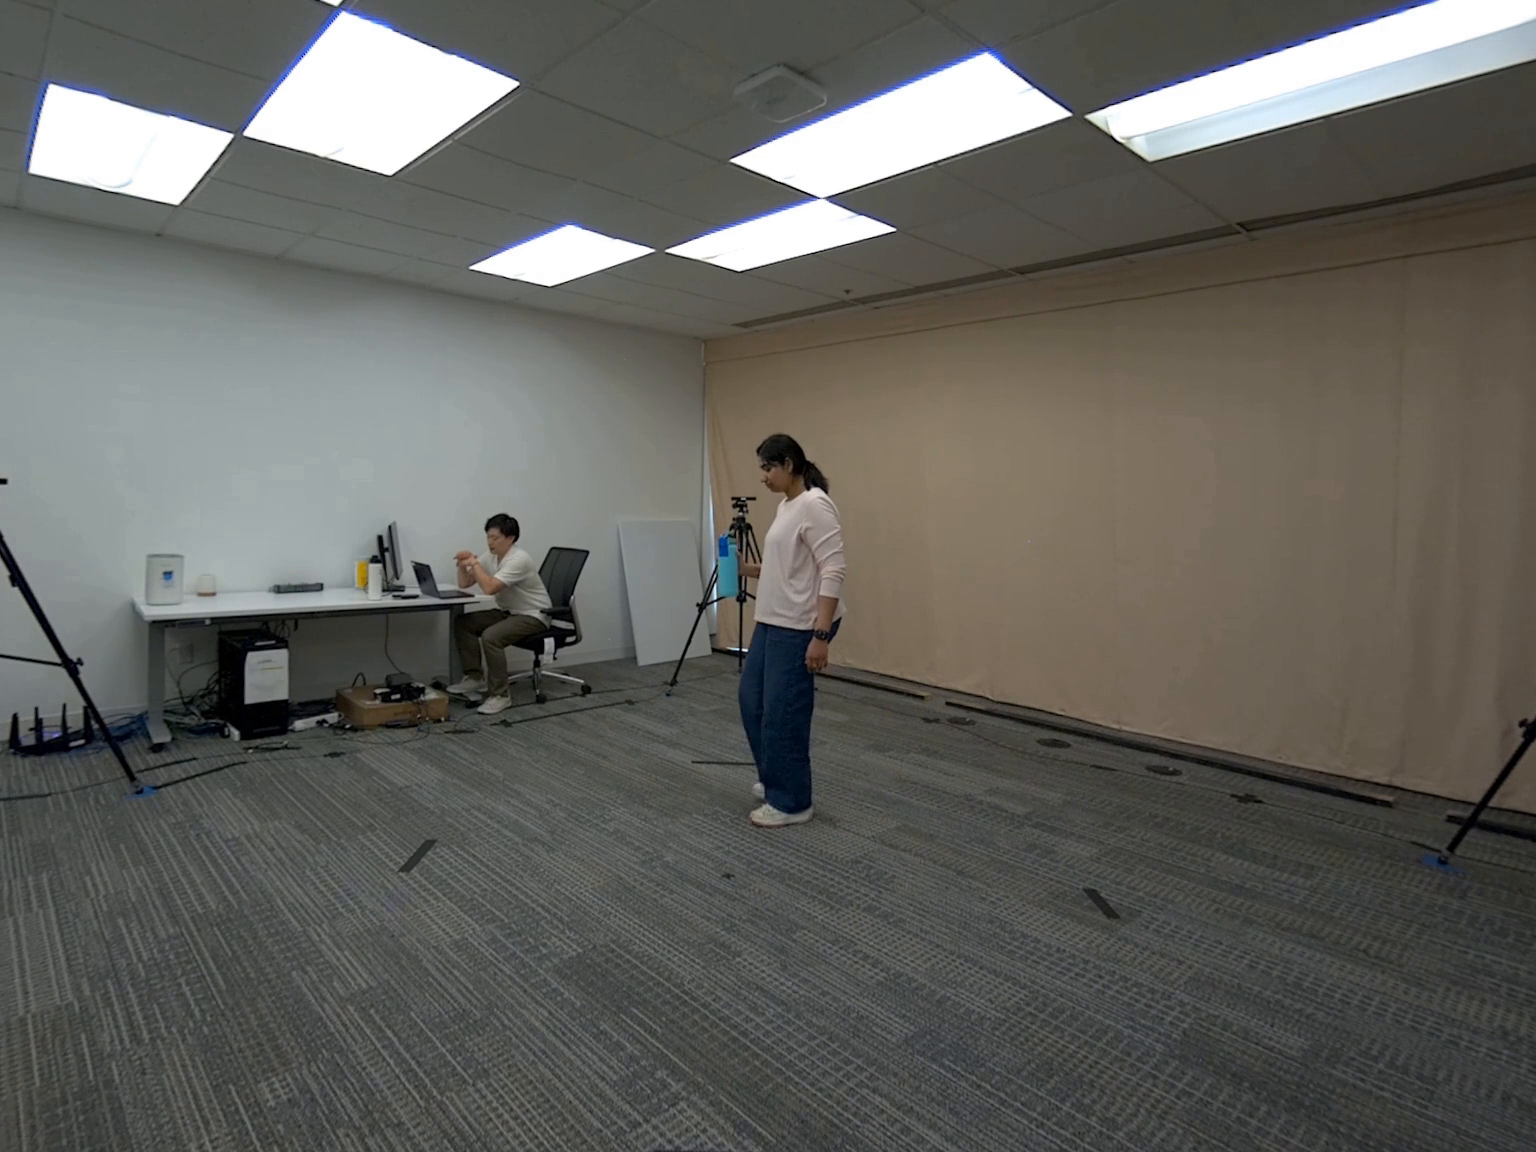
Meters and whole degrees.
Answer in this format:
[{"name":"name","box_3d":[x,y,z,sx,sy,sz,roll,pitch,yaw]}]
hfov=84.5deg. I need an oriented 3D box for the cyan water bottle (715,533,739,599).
[{"name":"cyan water bottle","box_3d":[-0.183,-0.055,3.705,0.092,0.283,0.092,-2,2,-1]}]
